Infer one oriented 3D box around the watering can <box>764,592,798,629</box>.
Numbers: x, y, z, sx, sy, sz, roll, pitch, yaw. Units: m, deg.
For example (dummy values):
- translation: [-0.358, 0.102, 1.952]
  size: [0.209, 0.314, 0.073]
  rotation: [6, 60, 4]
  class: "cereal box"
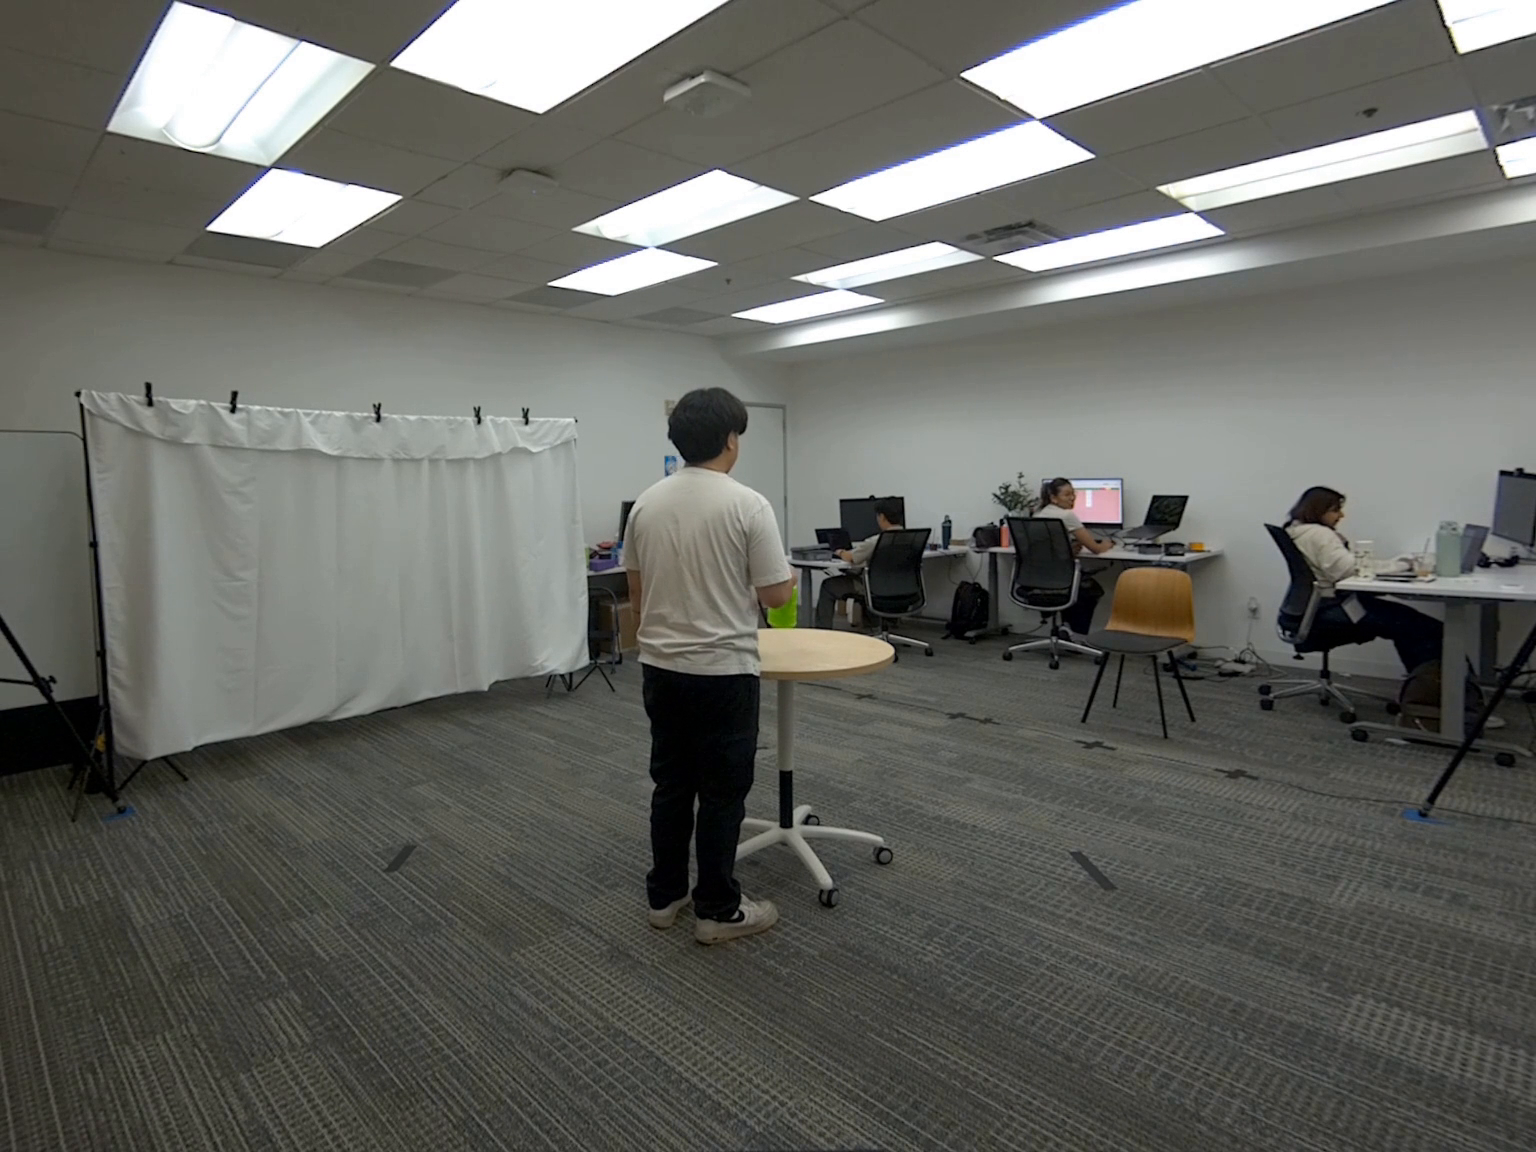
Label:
- translation: [0.059, 0.072, 2.936]
  size: [0.098, 0.175, 0.279]
  rotation: [8, 12, 4]
  class: "watering can"
